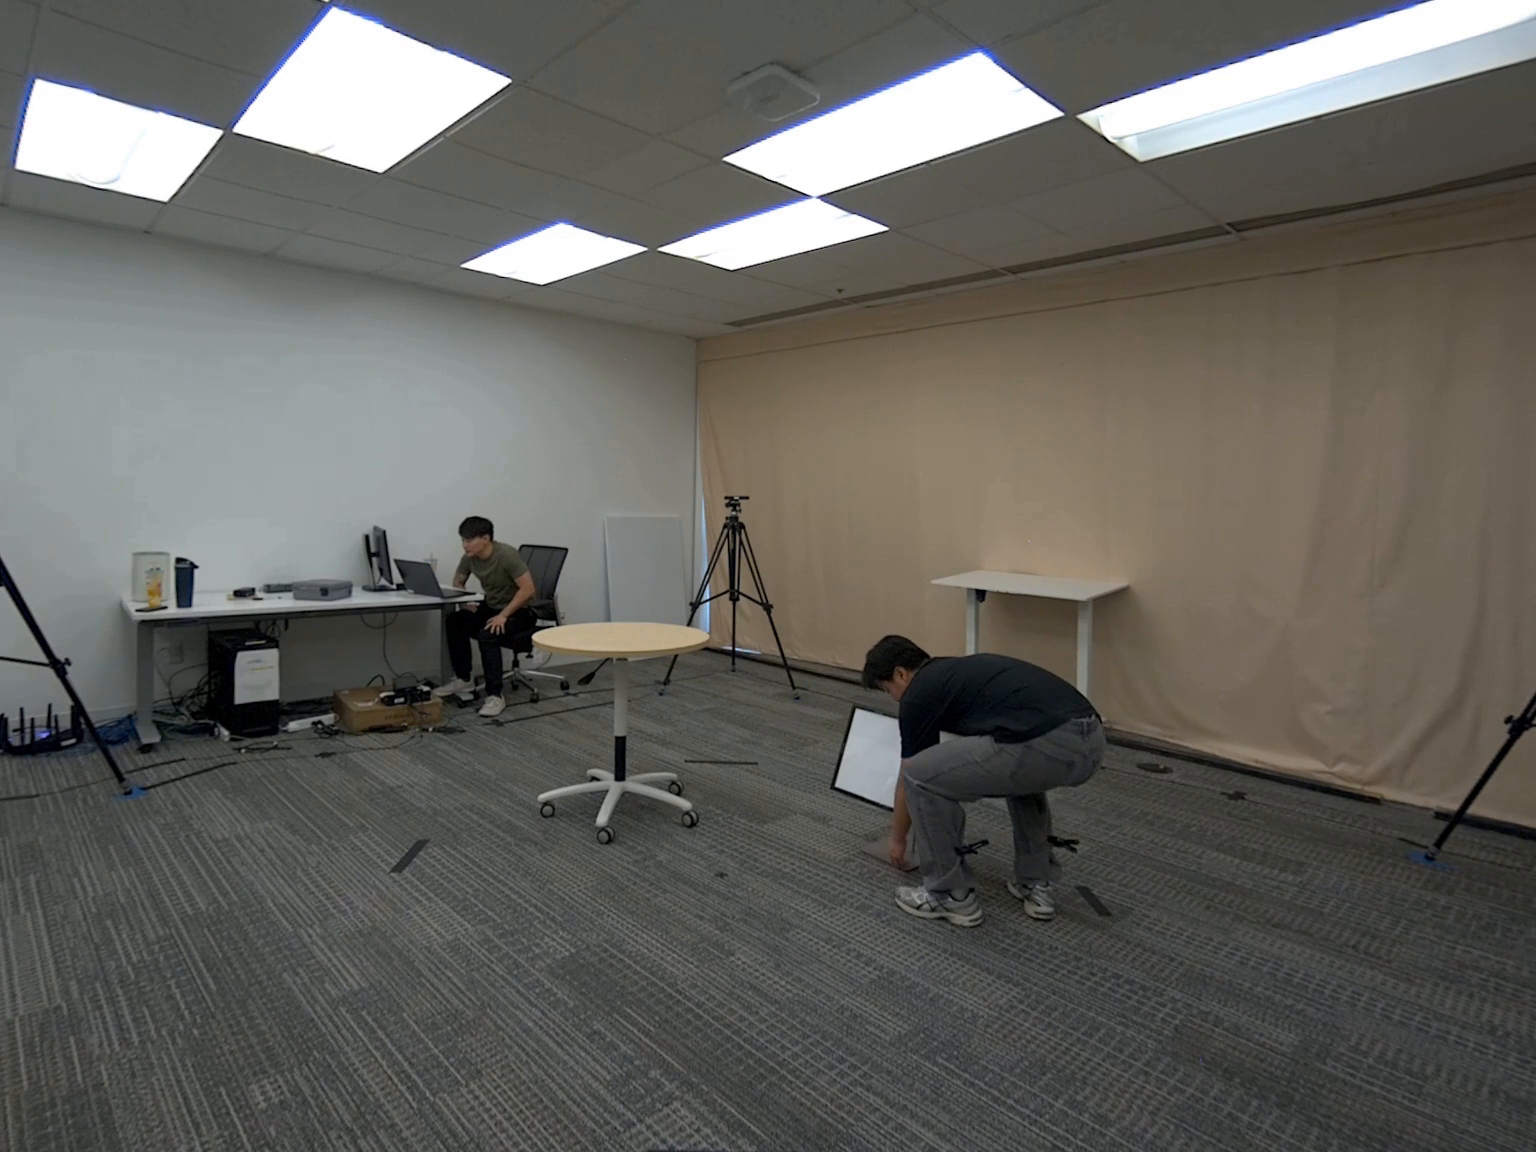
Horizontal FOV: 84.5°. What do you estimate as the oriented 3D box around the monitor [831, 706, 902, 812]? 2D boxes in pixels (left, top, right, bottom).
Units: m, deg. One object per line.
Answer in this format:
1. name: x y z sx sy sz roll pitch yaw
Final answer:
1. monitor: 0.523 0.842 3.314 0.217 0.565 0.576 1 4 -44
